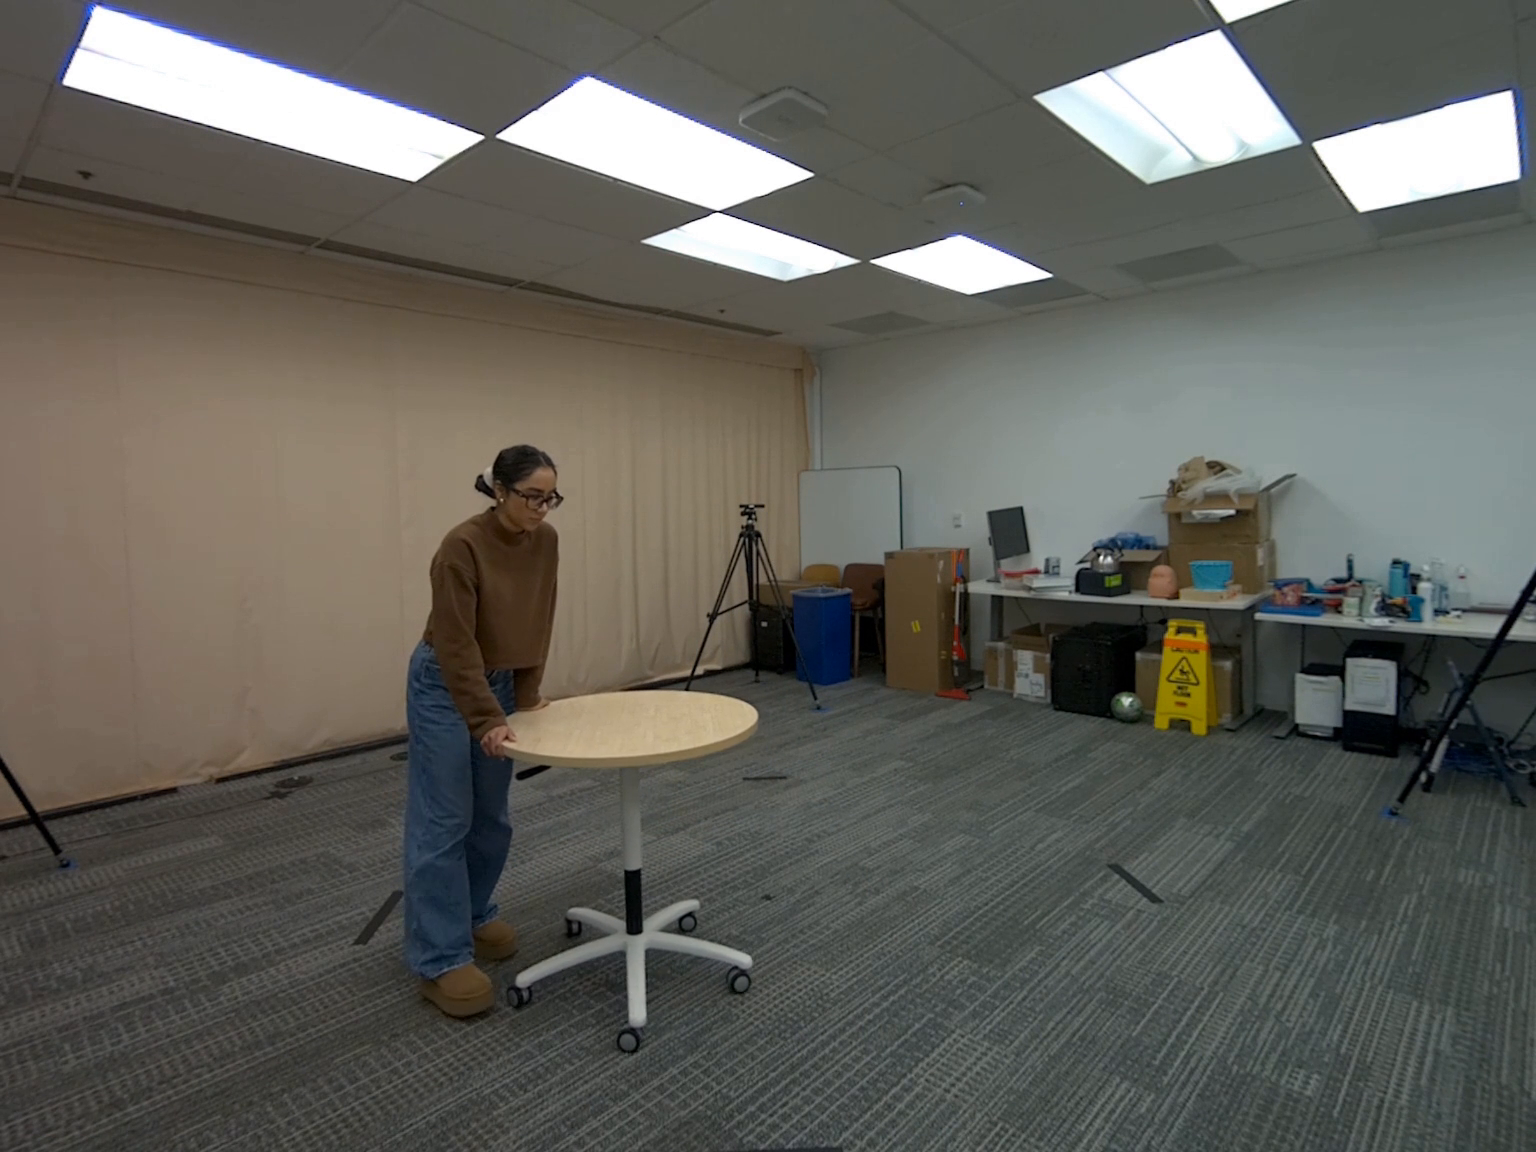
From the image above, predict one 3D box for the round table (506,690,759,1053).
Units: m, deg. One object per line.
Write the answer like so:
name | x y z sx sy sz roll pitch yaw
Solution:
round table | -0.403 0.810 2.466 0.763 0.792 0.766 -2 4 -2
